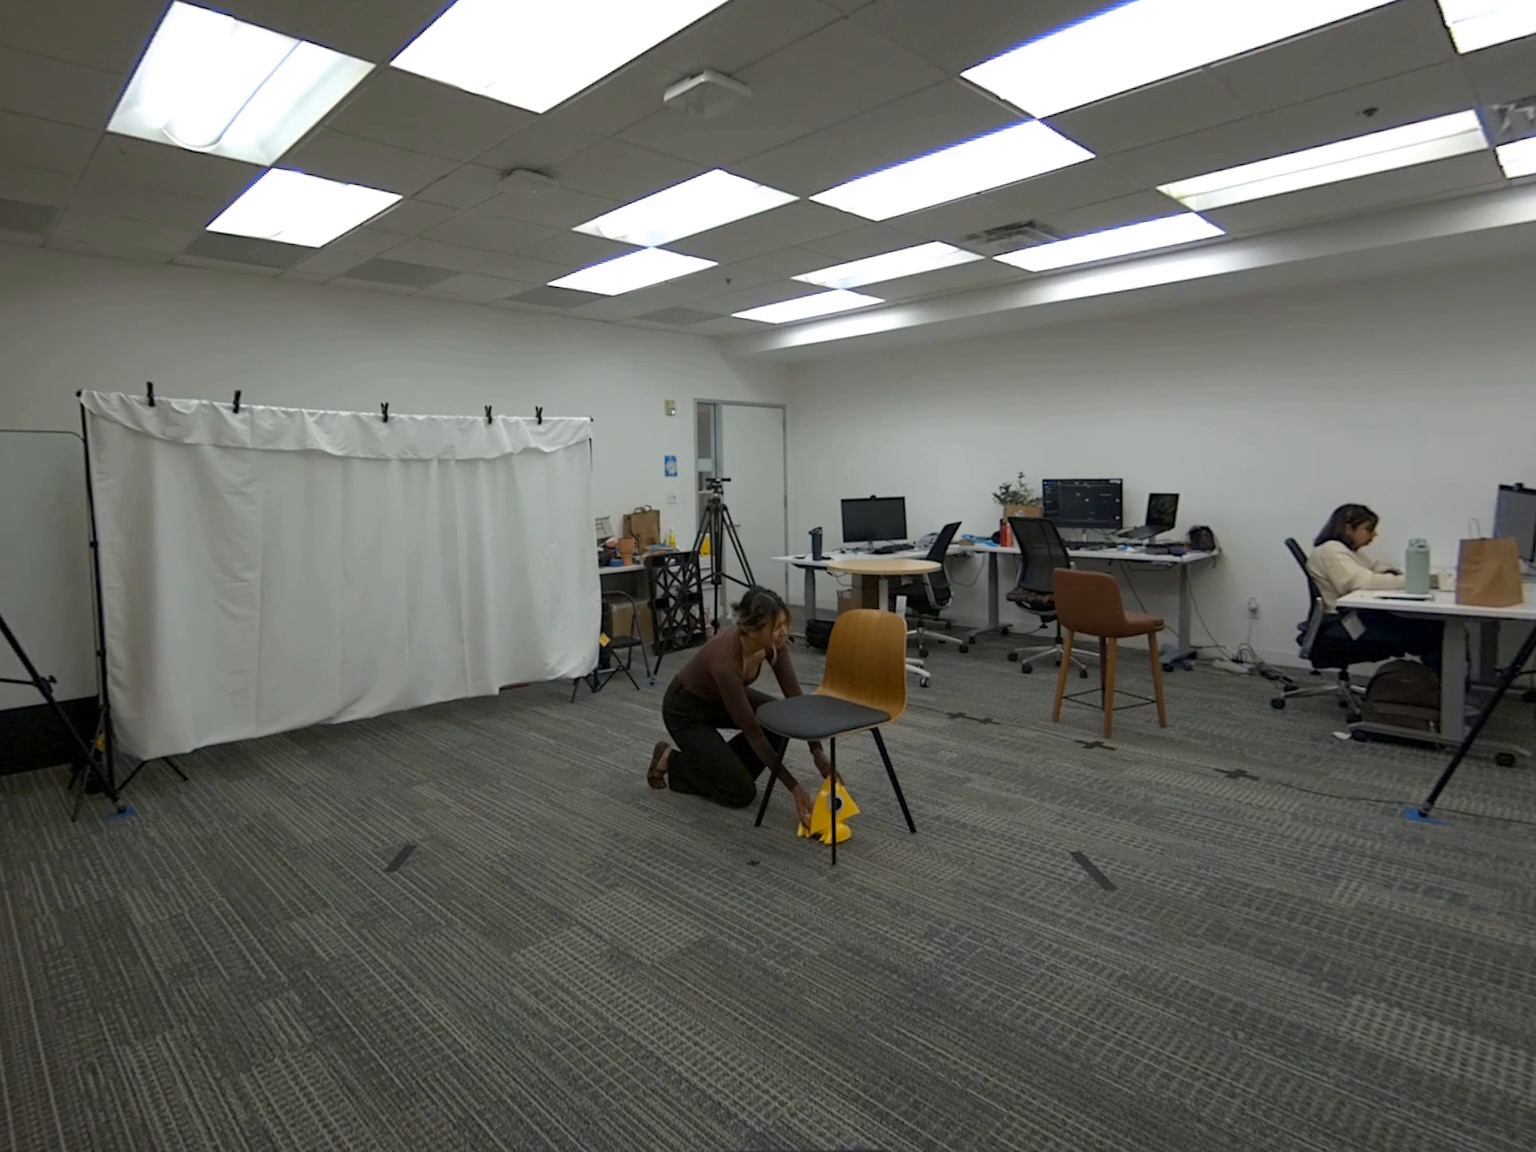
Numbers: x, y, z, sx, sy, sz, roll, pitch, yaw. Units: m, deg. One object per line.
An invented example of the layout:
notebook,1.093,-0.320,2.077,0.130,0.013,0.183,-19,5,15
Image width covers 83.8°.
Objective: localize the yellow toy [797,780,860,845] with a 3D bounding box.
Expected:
yellow toy,0.222,0.889,3.350,0.210,0.230,0.188,-2,2,42
